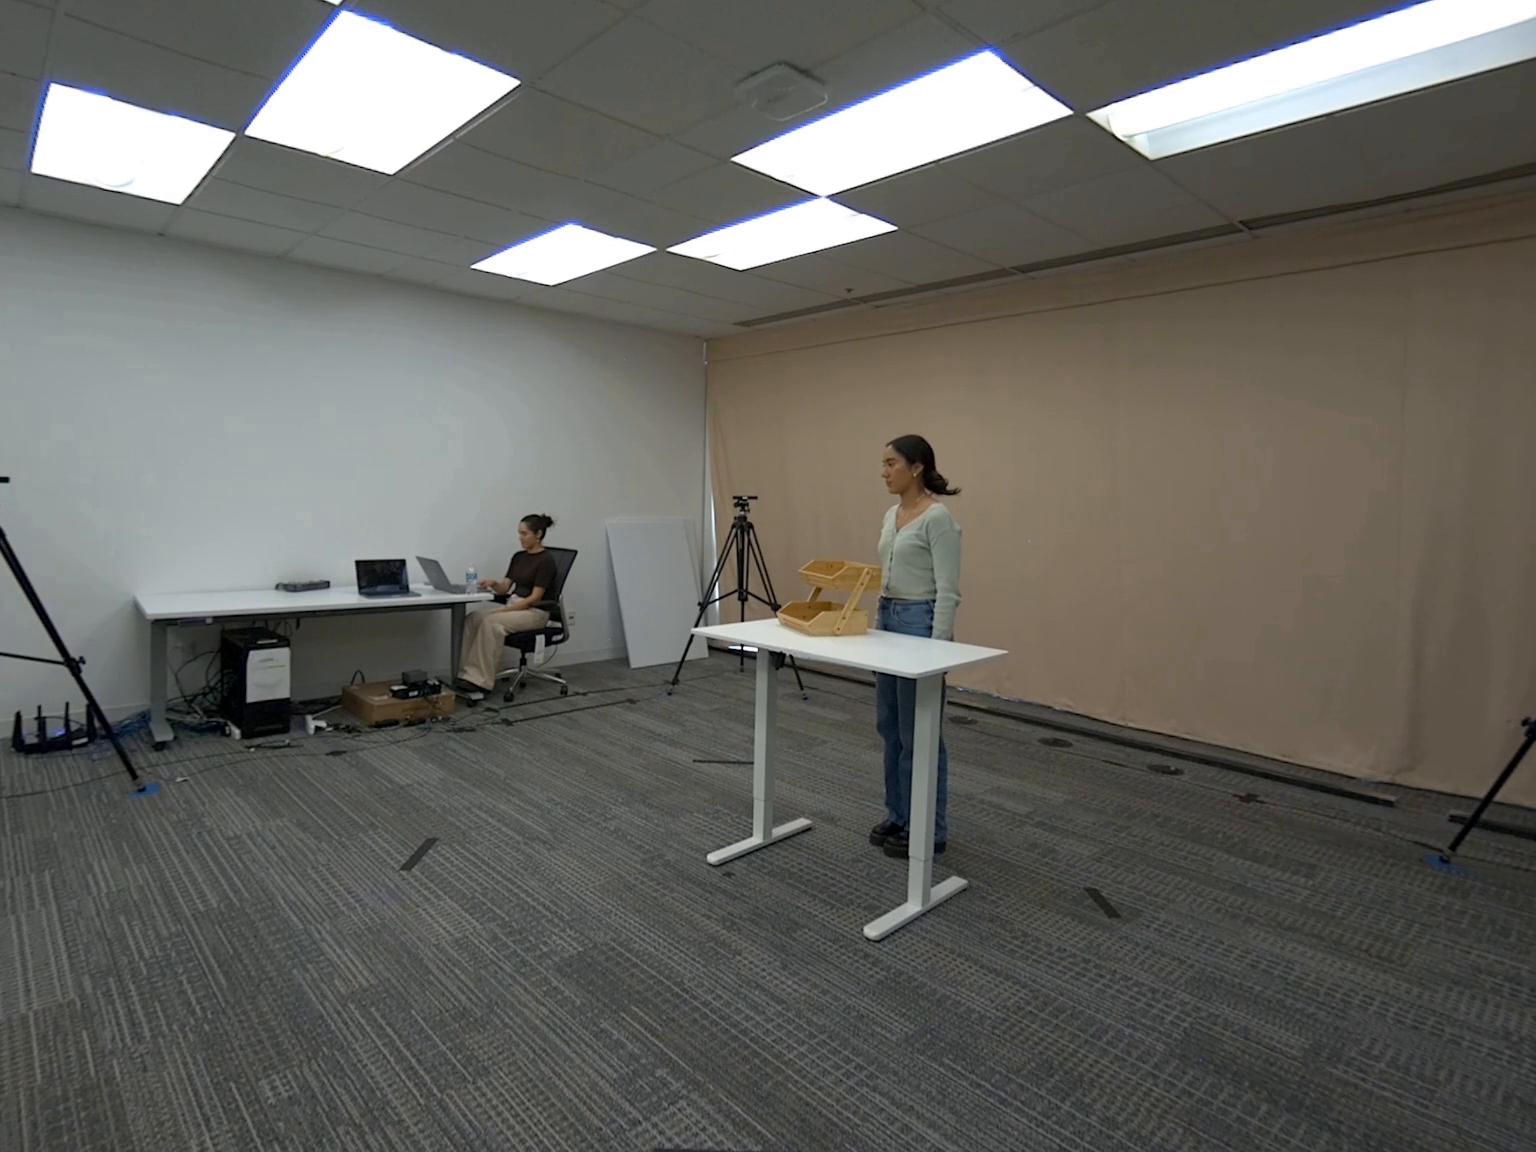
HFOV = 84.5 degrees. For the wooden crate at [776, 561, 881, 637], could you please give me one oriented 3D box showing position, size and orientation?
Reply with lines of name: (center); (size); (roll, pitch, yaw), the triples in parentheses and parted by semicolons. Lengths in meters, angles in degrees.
wooden crate: (0.226, 0.077, 3.297); (0.297, 0.272, 0.331); (1, 5, -22)
